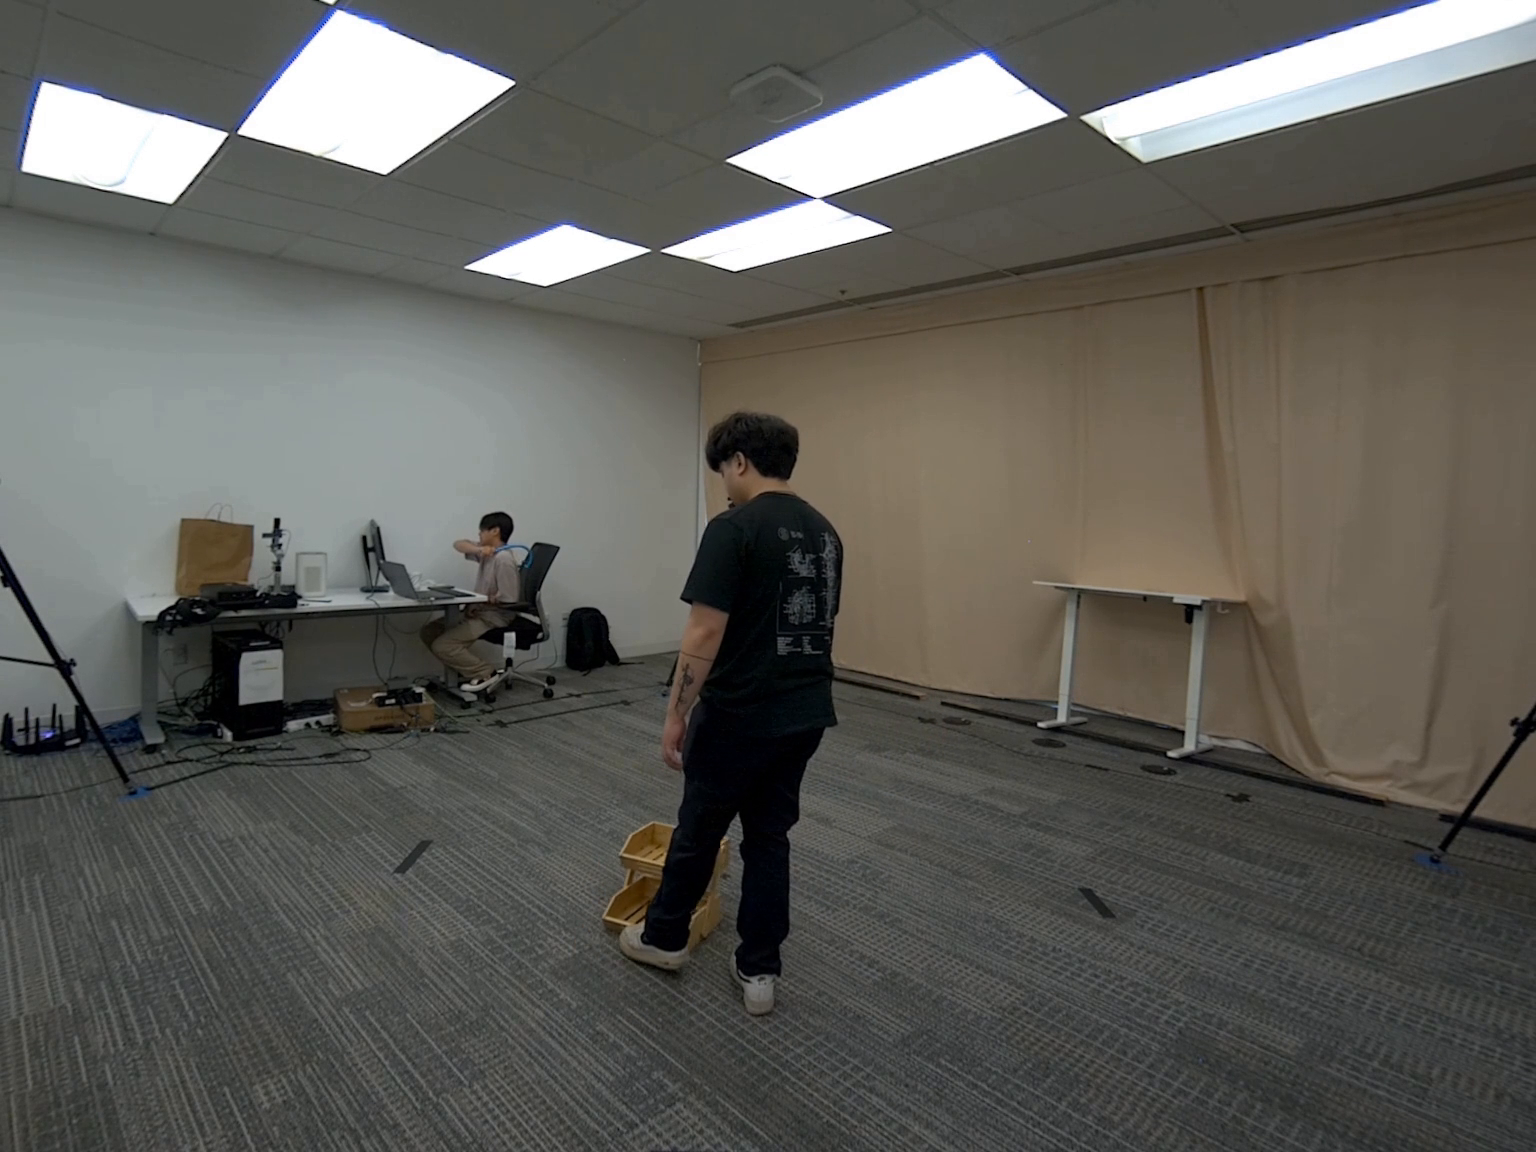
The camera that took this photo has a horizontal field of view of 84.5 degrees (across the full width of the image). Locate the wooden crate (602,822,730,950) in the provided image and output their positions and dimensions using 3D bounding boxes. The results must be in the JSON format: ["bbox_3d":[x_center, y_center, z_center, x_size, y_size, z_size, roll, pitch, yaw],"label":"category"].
[{"bbox_3d":[-0.338,1.008,2.737,0.331,0.273,0.297,3,4,26],"label":"wooden crate"}]
